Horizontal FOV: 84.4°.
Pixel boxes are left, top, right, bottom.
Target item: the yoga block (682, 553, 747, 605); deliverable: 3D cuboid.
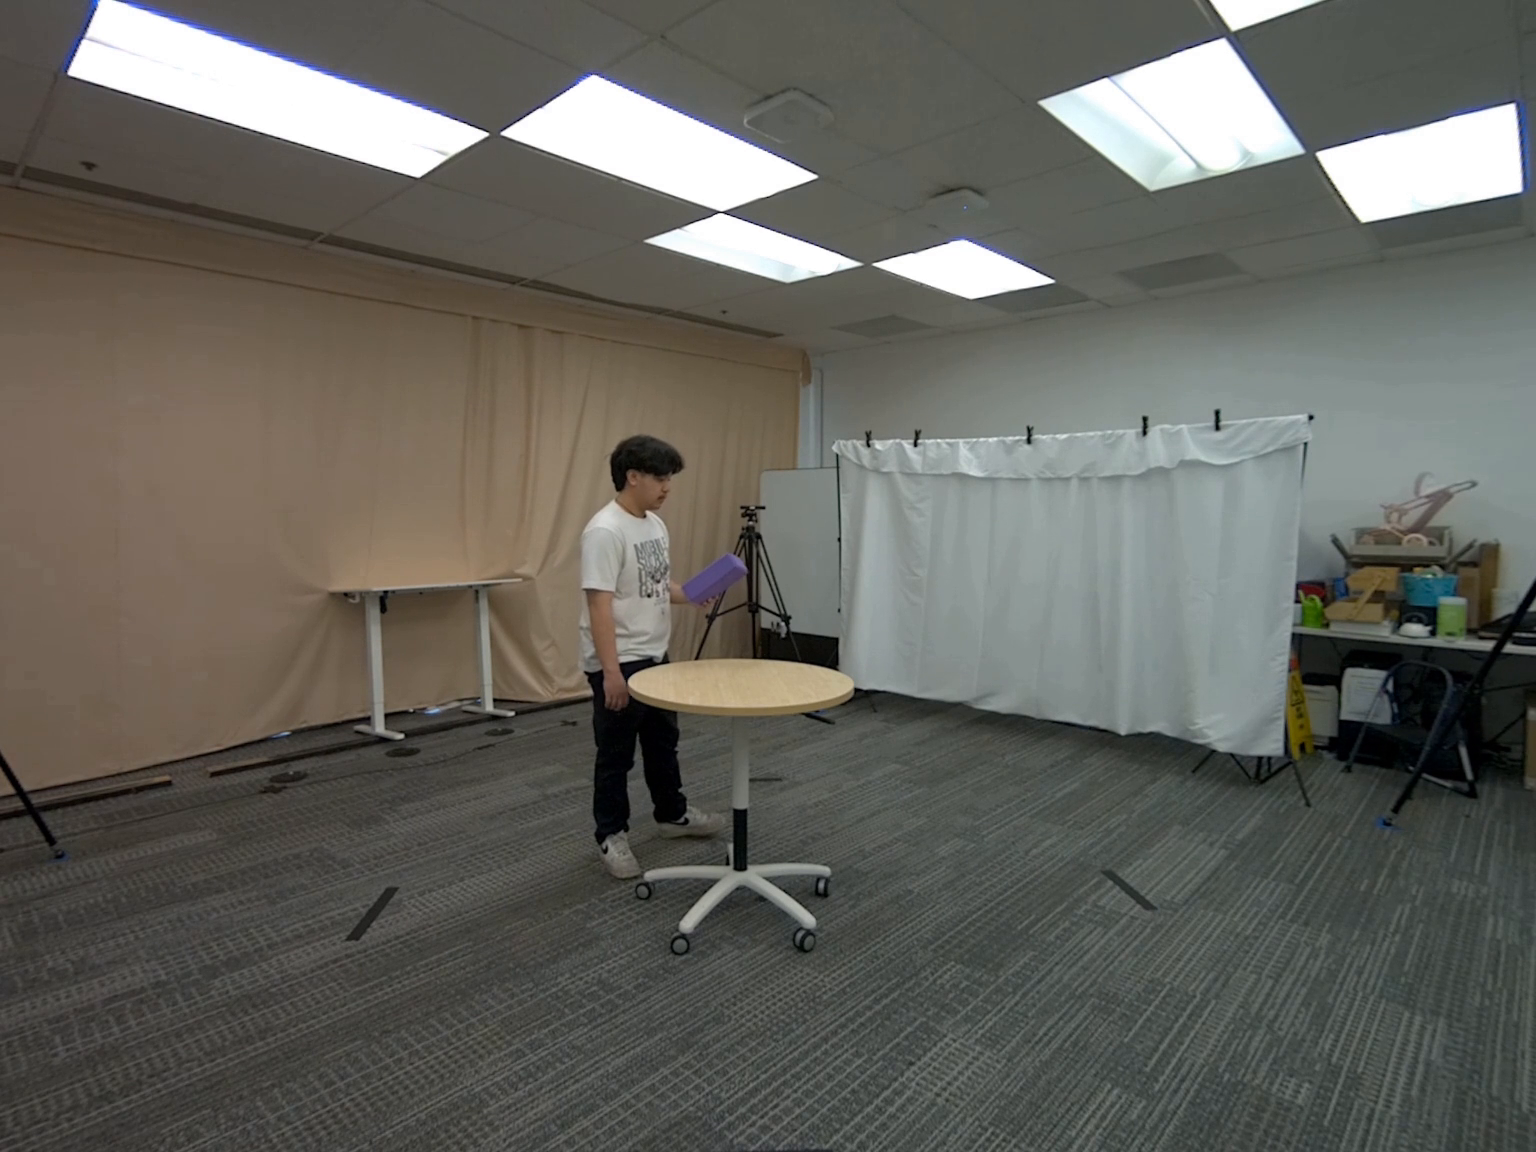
[{"bbox_3d":[-0.201,0.013,3.172,0.231,0.078,0.145,-34,-18,11],"label":"yoga block"}]
